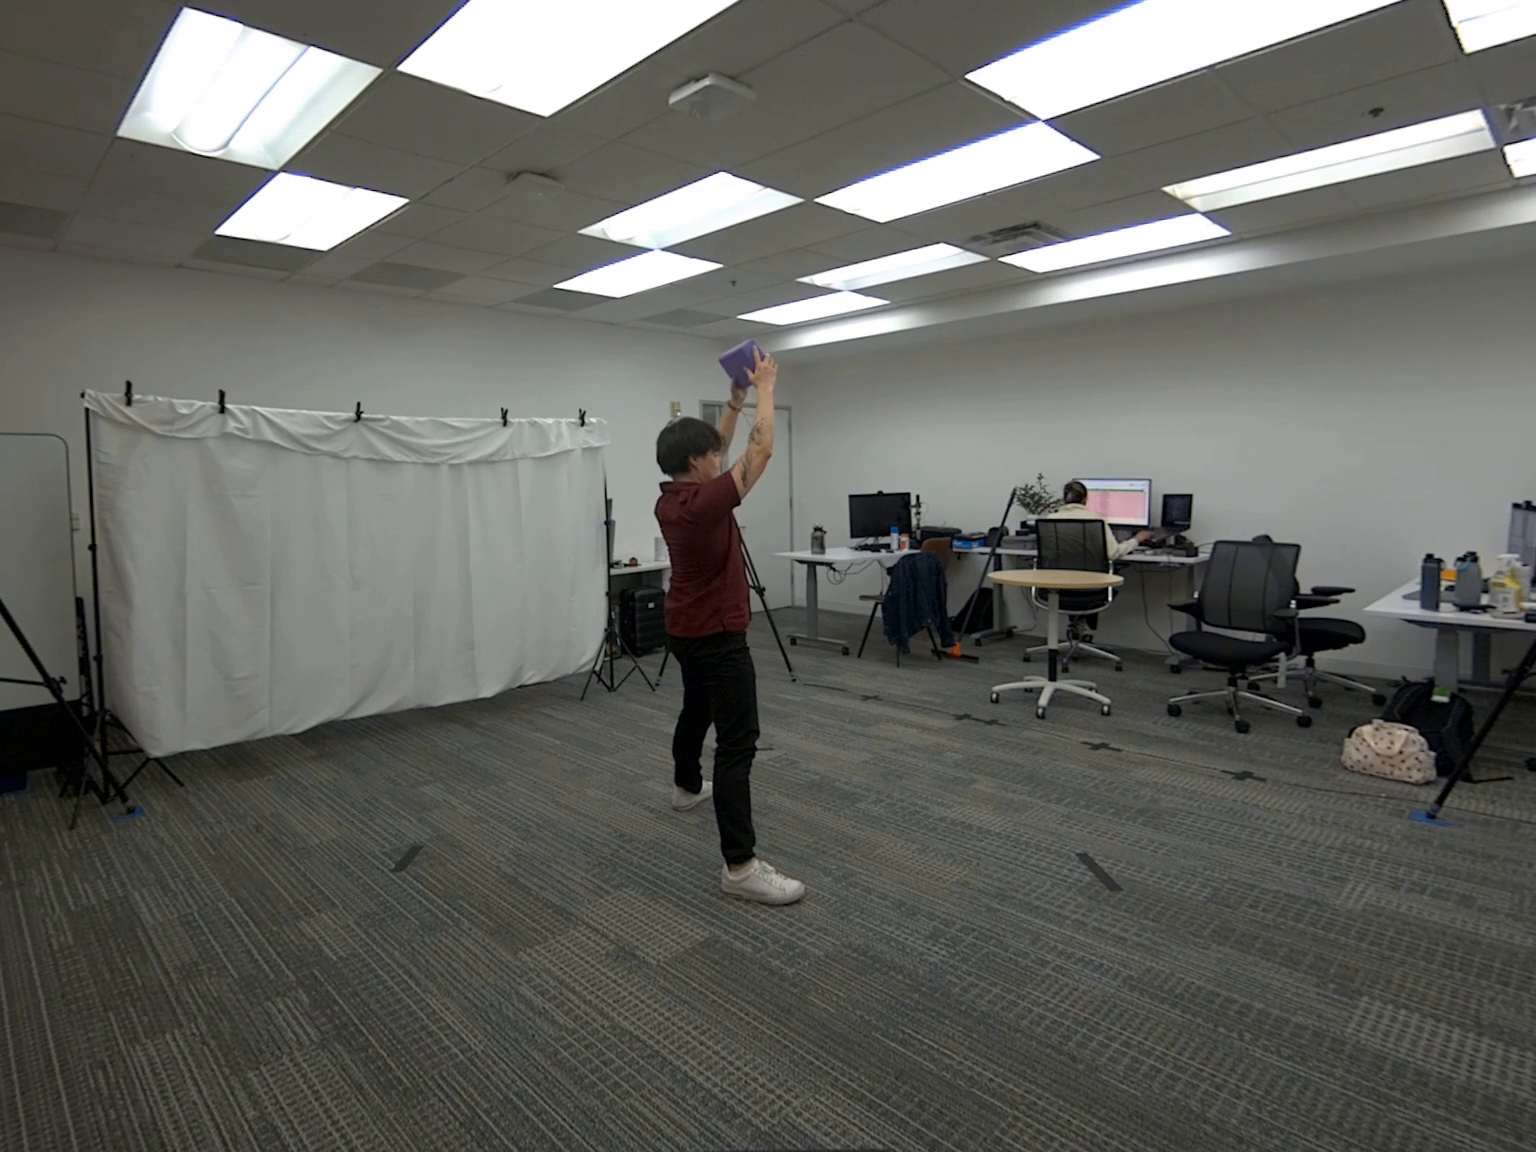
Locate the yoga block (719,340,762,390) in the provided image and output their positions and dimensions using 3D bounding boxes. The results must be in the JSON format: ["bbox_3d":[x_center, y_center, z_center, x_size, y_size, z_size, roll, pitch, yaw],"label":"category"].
[{"bbox_3d":[-0.071,-0.794,3.234,0.076,0.146,0.234,-39,15,-16],"label":"yoga block"}]
